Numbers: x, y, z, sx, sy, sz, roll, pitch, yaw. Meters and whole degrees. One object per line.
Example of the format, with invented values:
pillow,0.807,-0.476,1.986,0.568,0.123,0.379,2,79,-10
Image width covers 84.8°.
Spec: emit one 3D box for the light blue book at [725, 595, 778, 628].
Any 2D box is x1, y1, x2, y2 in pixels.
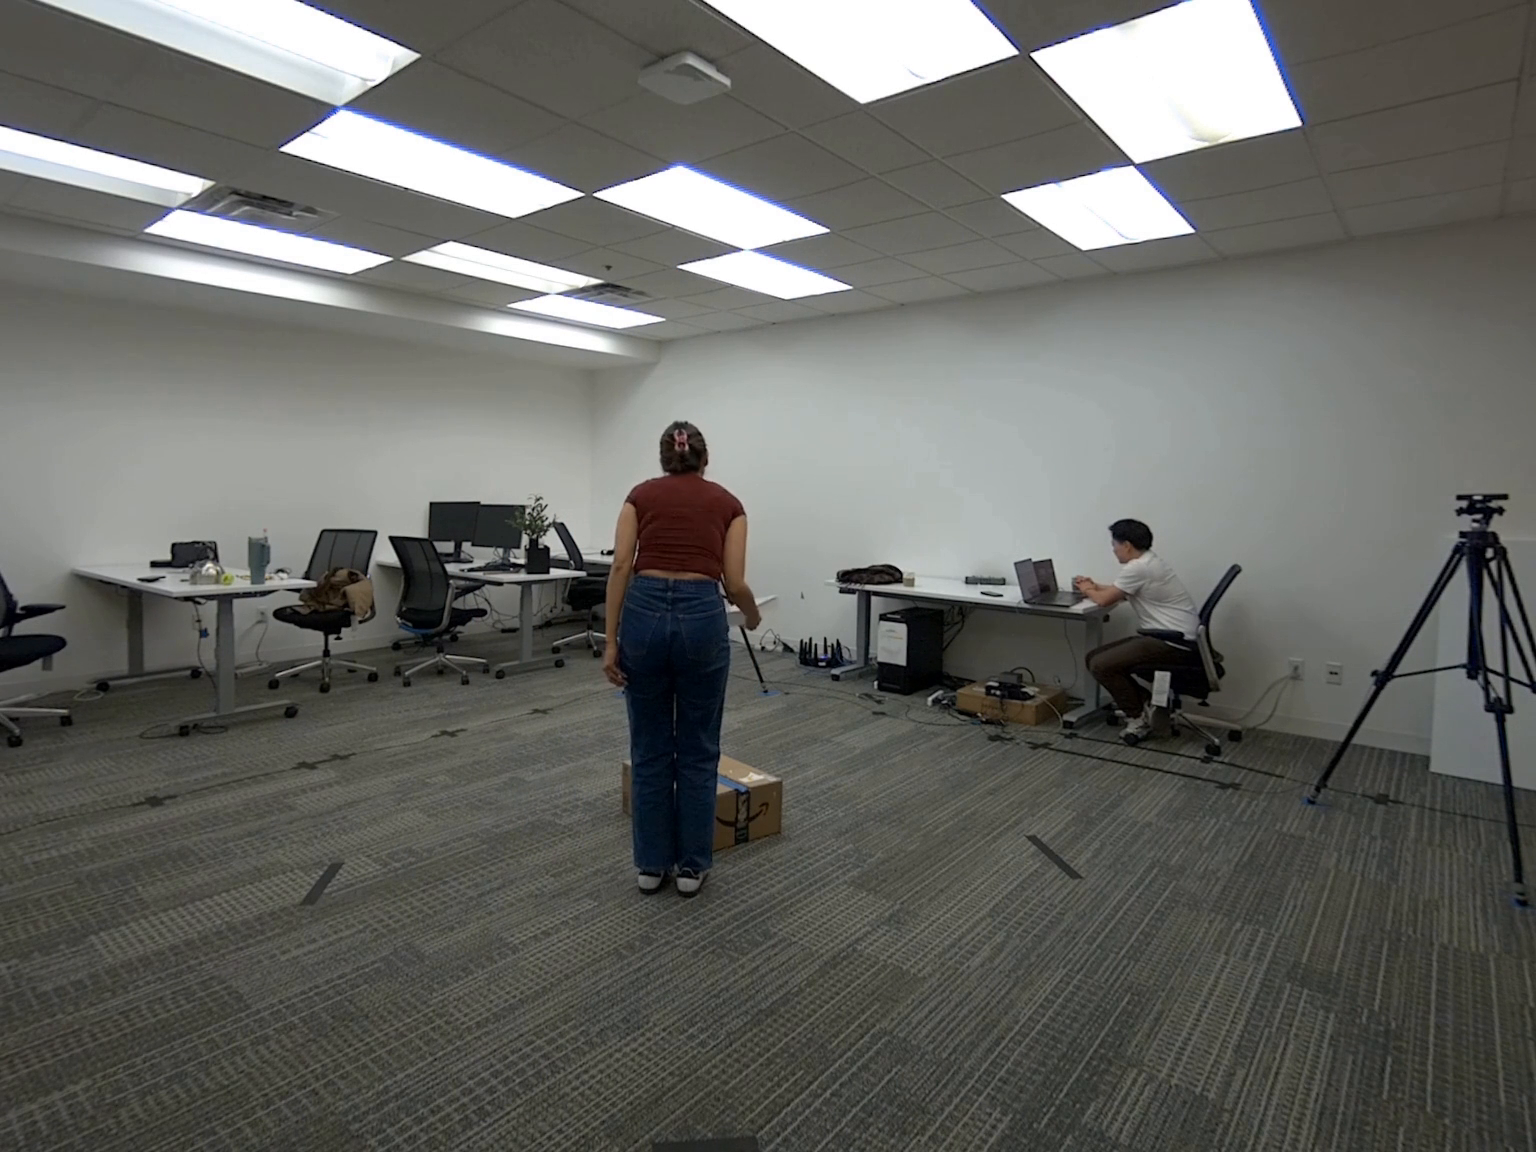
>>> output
light blue book,-0.111,0.140,3.318,0.196,0.059,0.256,-9,6,32
